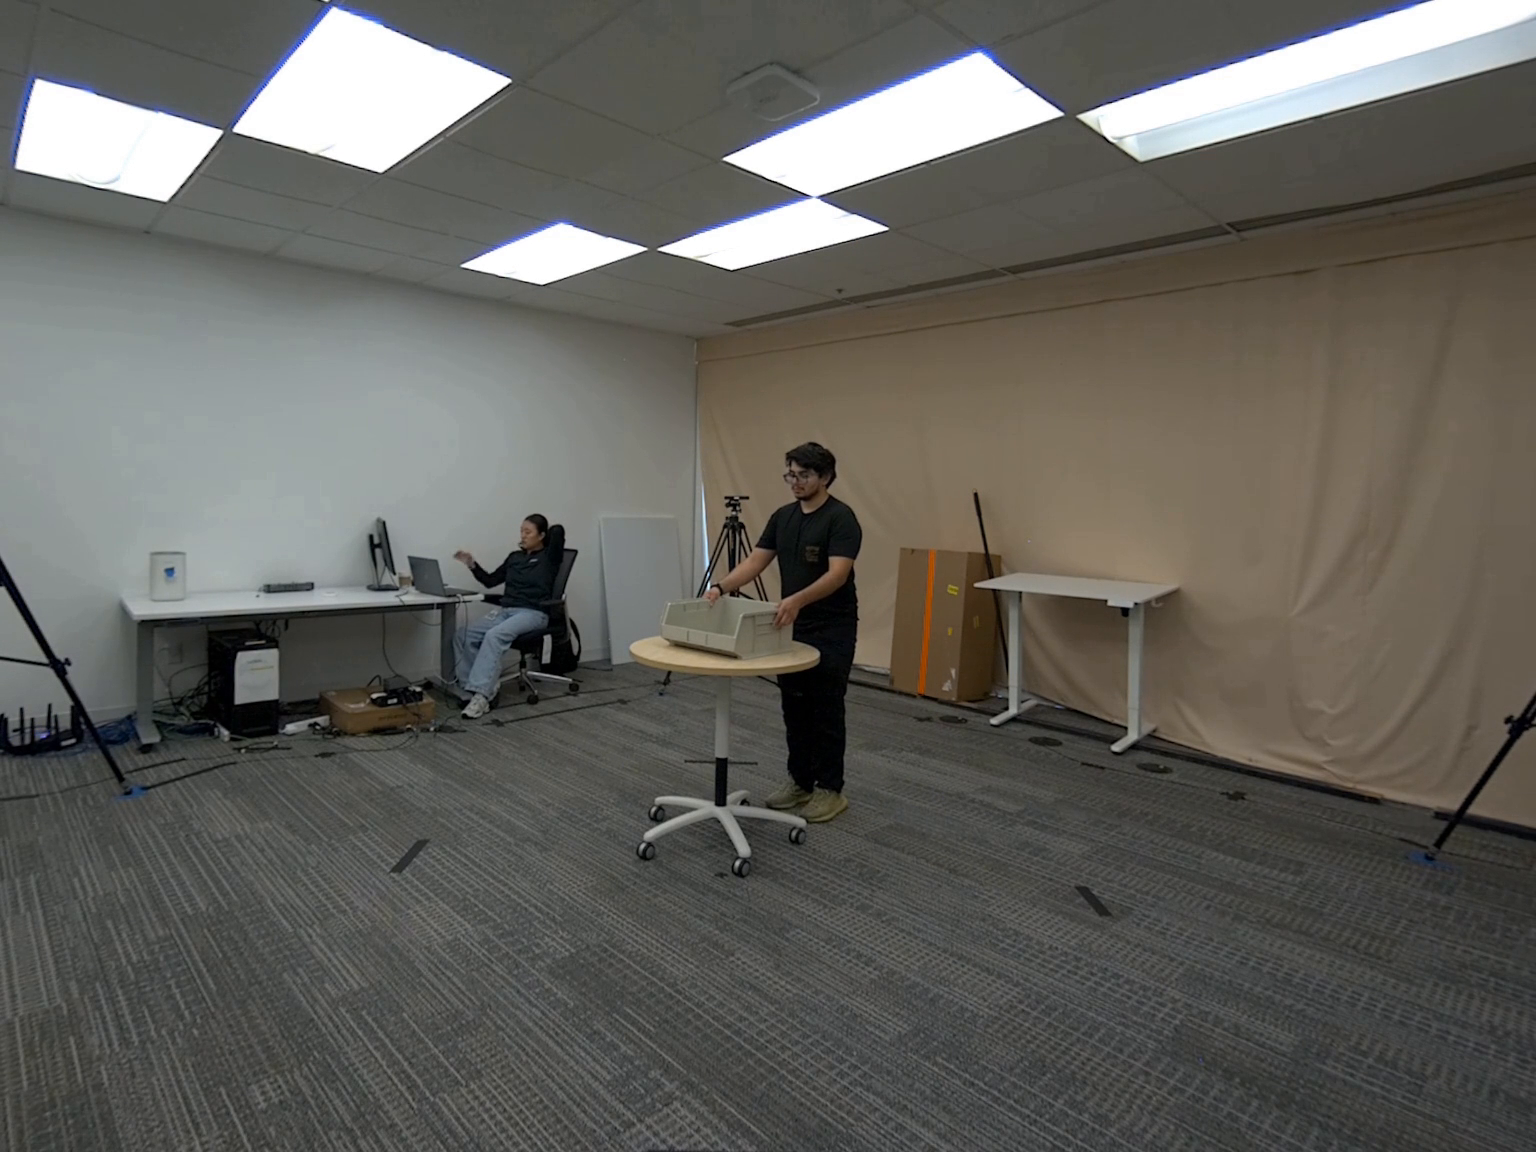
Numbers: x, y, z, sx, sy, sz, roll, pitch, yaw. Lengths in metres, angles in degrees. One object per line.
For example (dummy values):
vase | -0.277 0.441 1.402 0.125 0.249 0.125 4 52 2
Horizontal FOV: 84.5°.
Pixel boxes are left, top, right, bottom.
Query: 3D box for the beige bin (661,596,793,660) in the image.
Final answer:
beige bin | -0.172 0.204 3.410 0.433 0.188 0.369 6 6 40
